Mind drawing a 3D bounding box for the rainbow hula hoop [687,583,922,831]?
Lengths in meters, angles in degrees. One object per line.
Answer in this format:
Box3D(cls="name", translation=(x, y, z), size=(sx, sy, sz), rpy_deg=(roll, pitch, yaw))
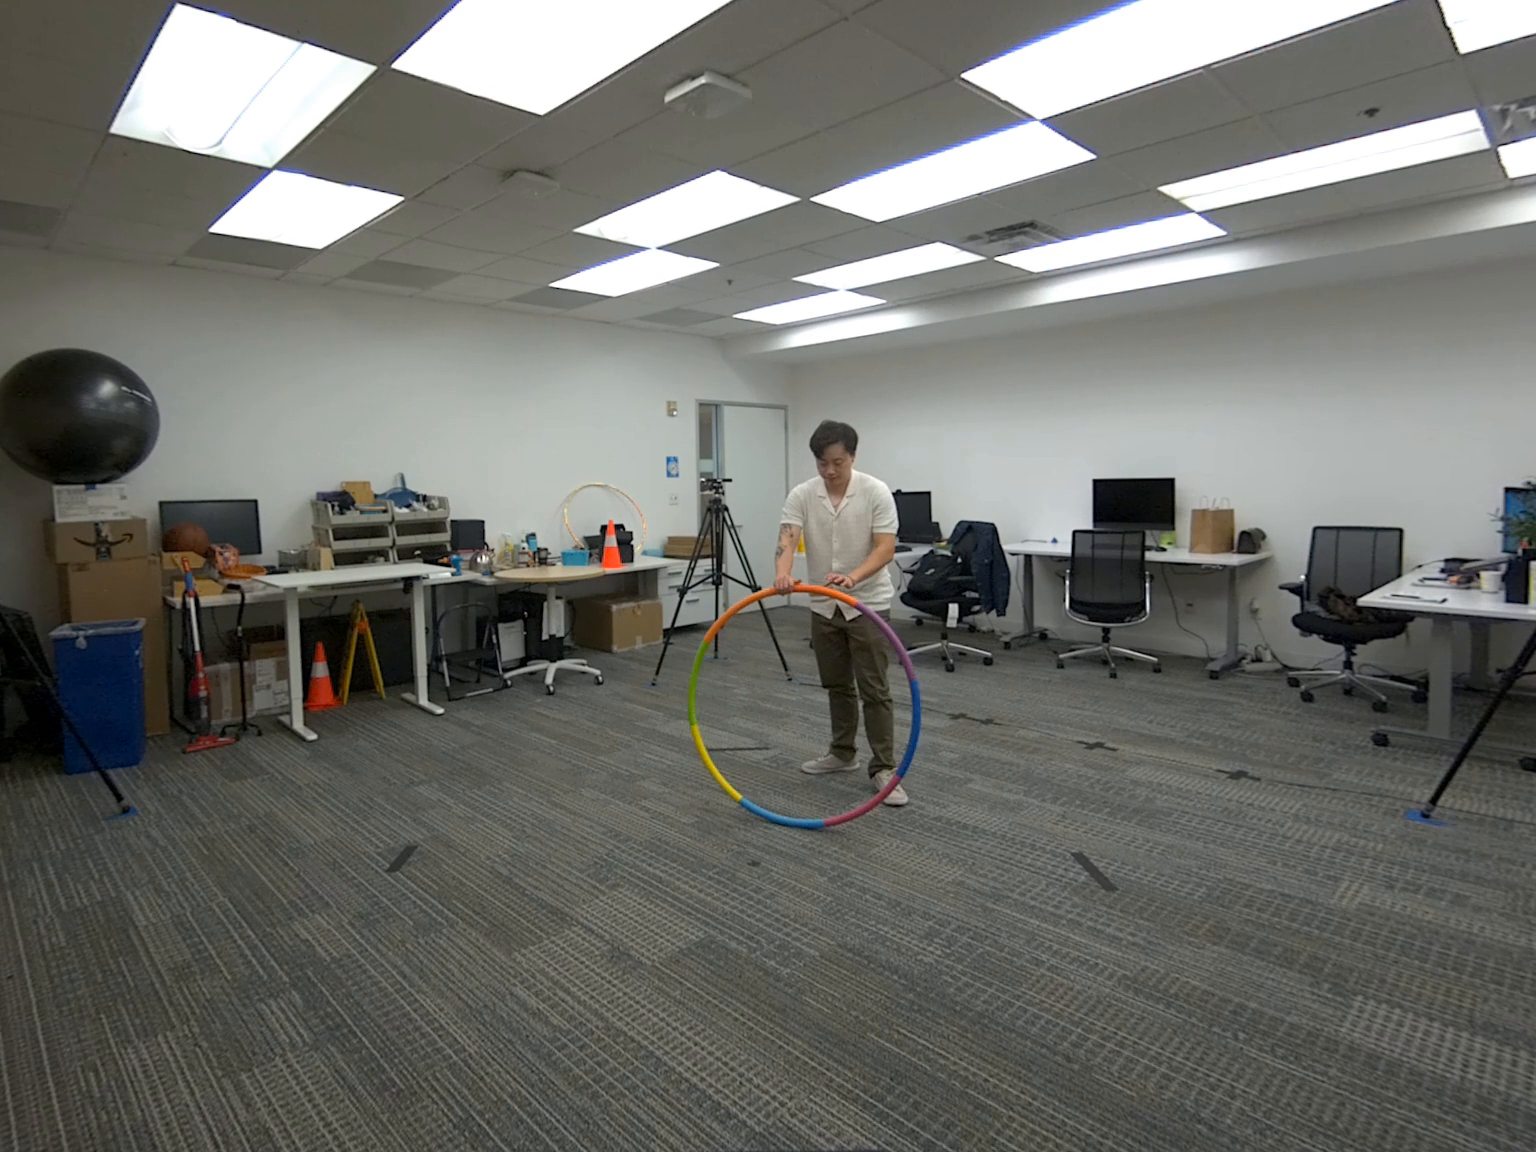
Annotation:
Box3D(cls="rainbow hula hoop", translation=(0.113, 0.524, 3.474), size=(1.001, 0.983, 0.034), rpy_deg=(1, -5, 25))
